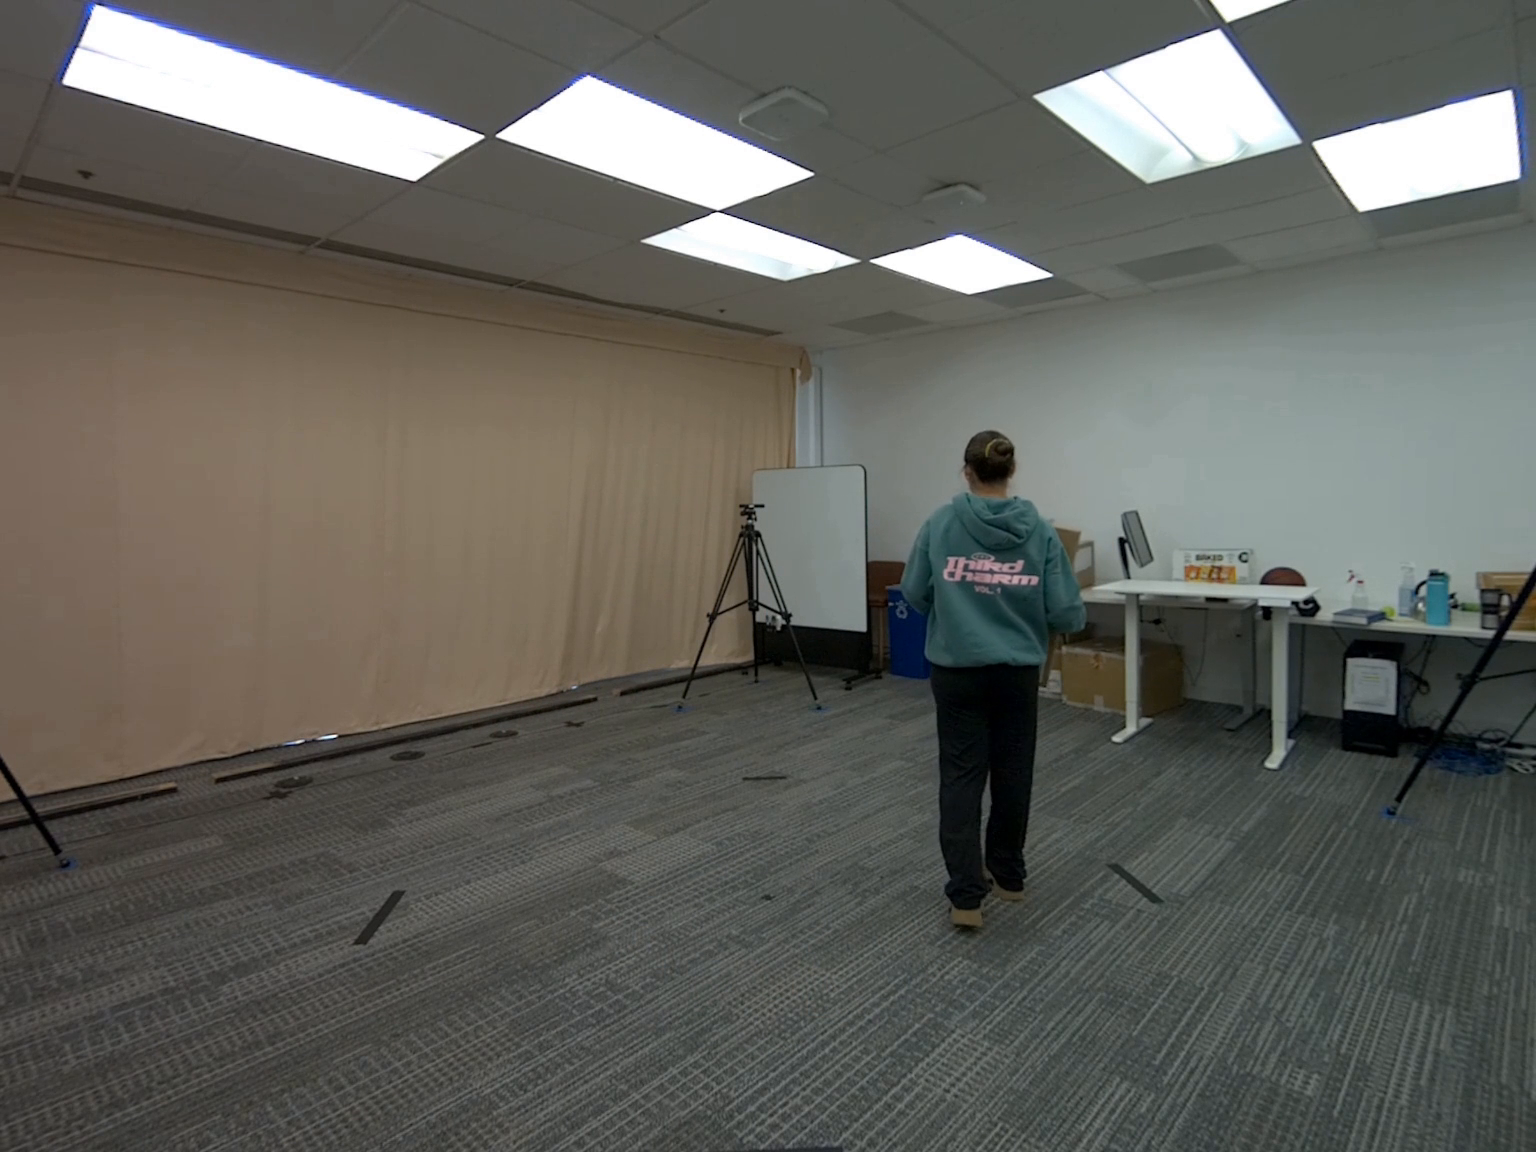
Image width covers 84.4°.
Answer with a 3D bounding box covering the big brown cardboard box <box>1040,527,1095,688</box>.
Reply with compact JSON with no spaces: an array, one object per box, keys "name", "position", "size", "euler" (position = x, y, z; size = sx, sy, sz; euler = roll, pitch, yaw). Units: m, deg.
[{"name":"big brown cardboard box","position":[0.883,0.071,3.105],"size":[0.428,0.587,0.228],"euler":[11,8,23]}]
